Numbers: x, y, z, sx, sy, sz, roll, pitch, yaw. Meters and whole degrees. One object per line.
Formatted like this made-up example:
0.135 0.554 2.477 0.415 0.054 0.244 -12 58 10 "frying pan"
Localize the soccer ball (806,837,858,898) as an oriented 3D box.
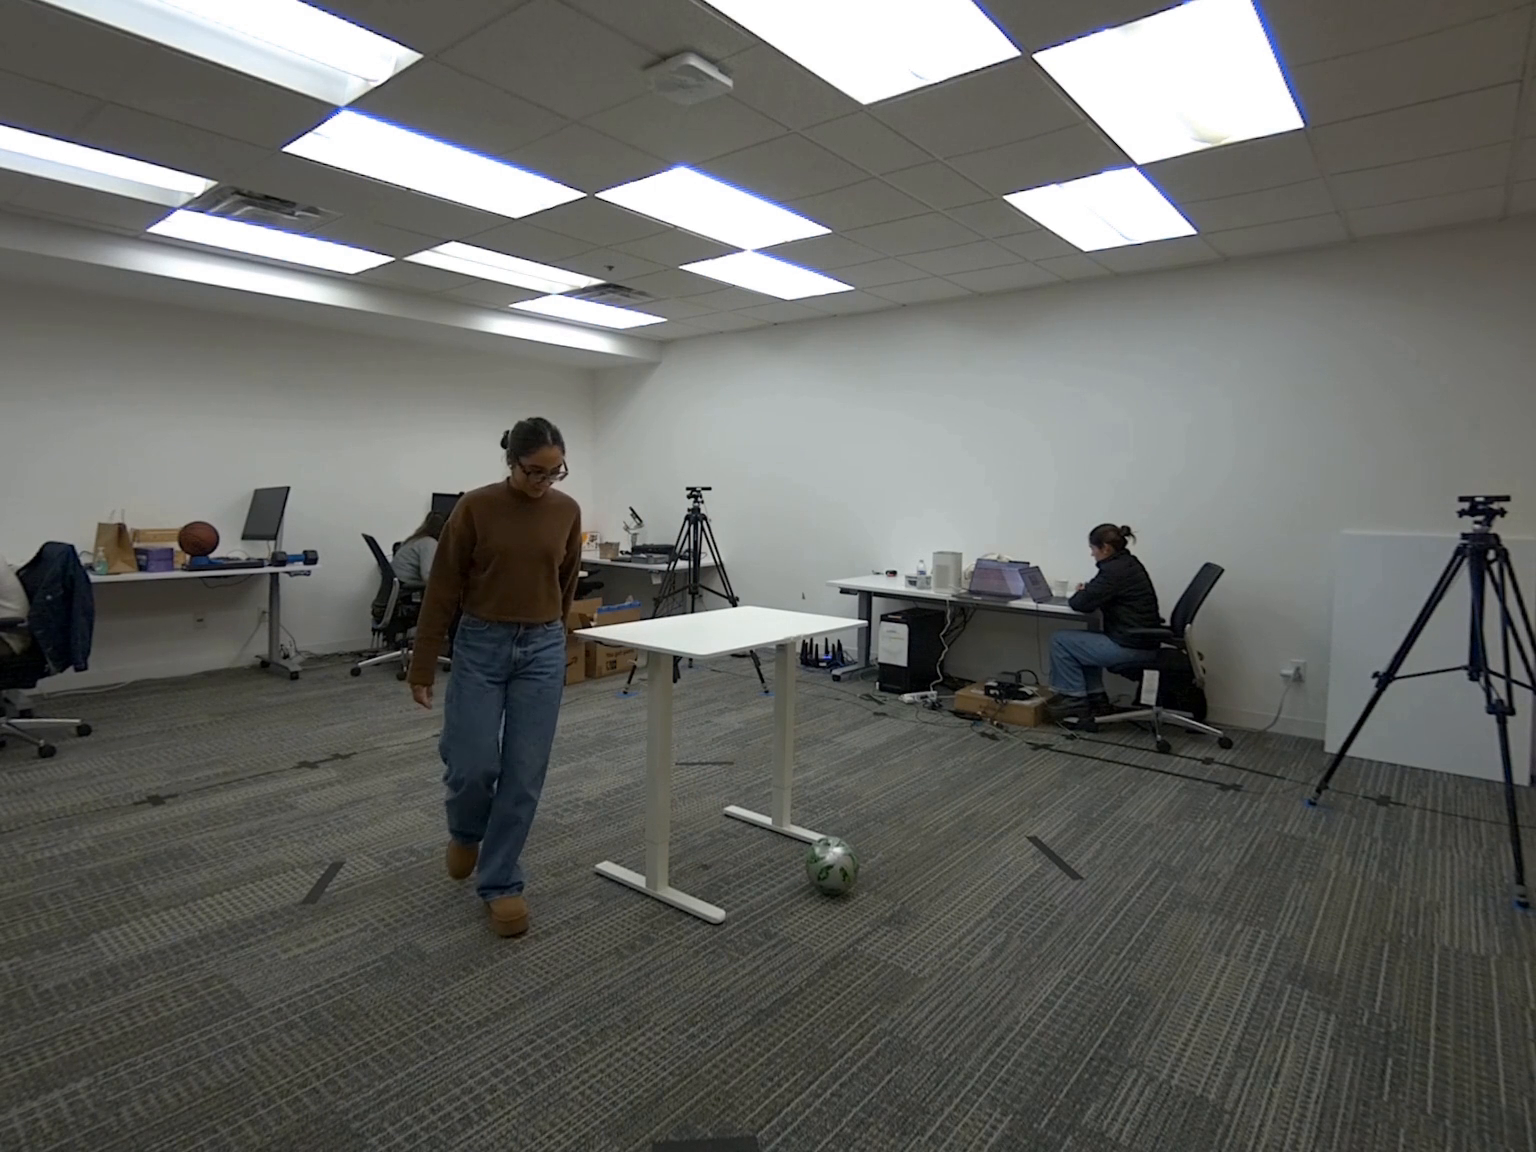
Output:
0.221 0.994 2.934 0.187 0.187 0.188 1 4 -2 "soccer ball"
